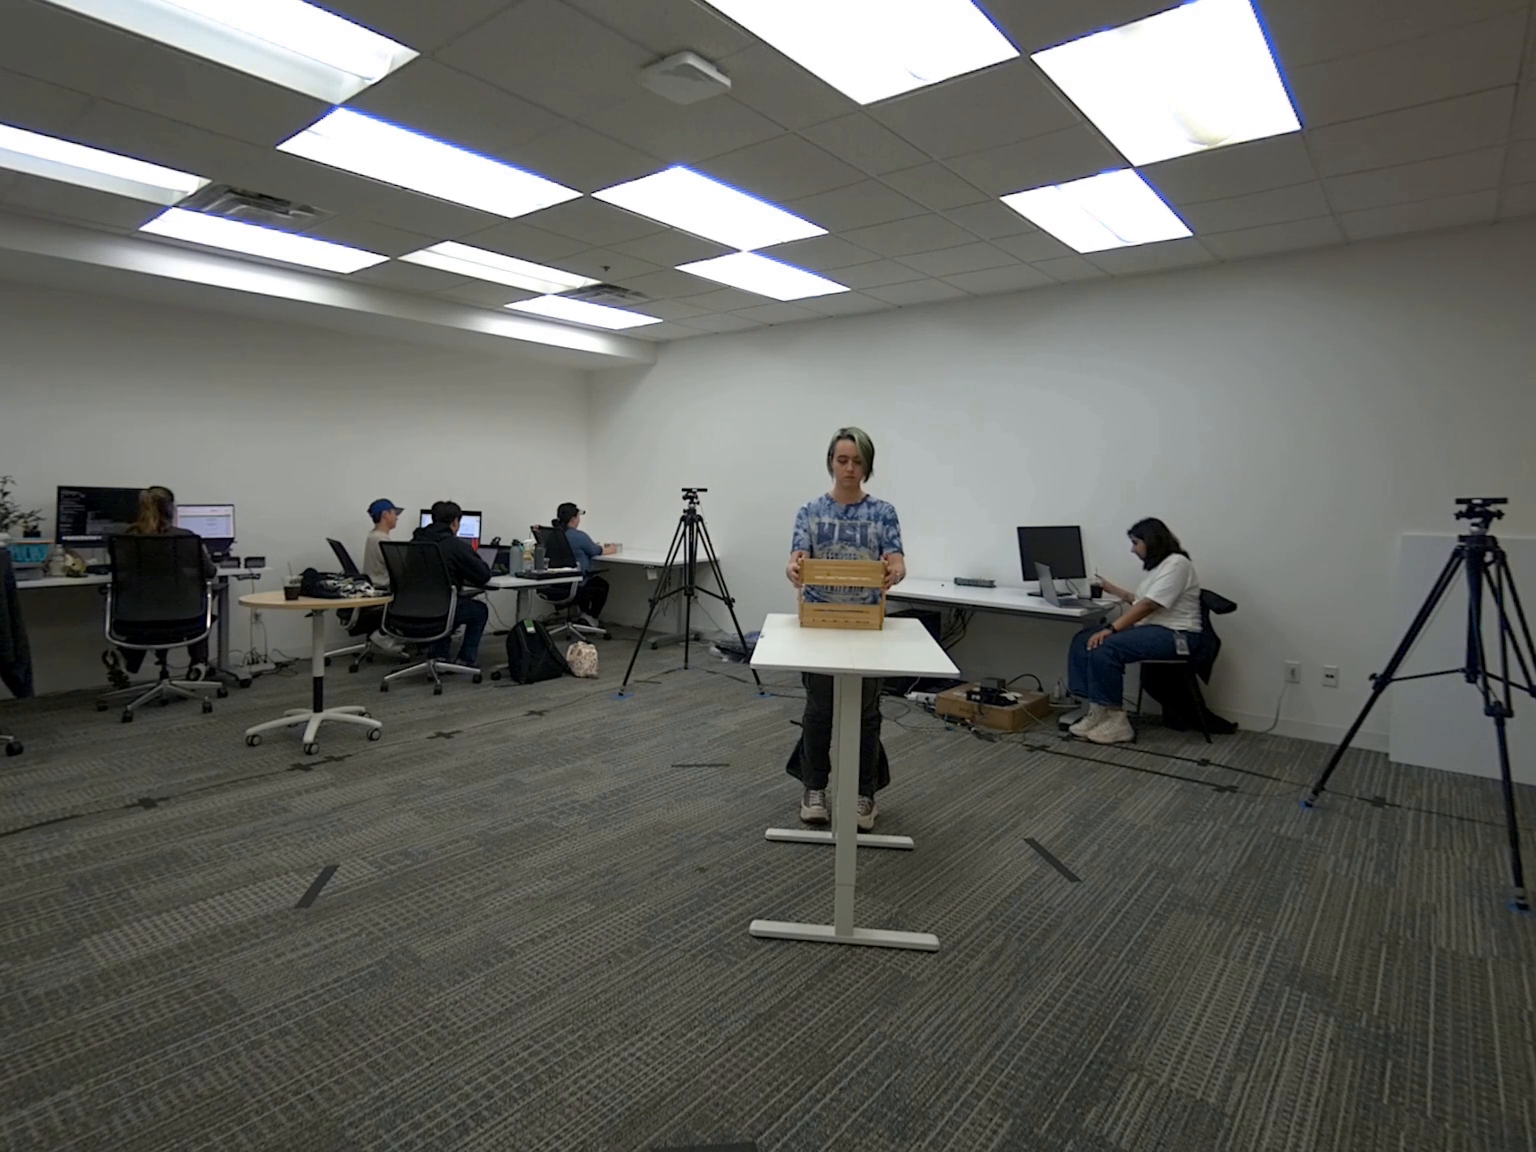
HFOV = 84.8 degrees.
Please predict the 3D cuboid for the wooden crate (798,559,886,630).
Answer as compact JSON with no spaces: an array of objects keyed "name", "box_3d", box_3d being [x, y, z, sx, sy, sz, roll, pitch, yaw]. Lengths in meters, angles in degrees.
[{"name":"wooden crate","box_3d":[0.281,0.048,3.235,0.327,0.272,0.302,2,7,6]}]
